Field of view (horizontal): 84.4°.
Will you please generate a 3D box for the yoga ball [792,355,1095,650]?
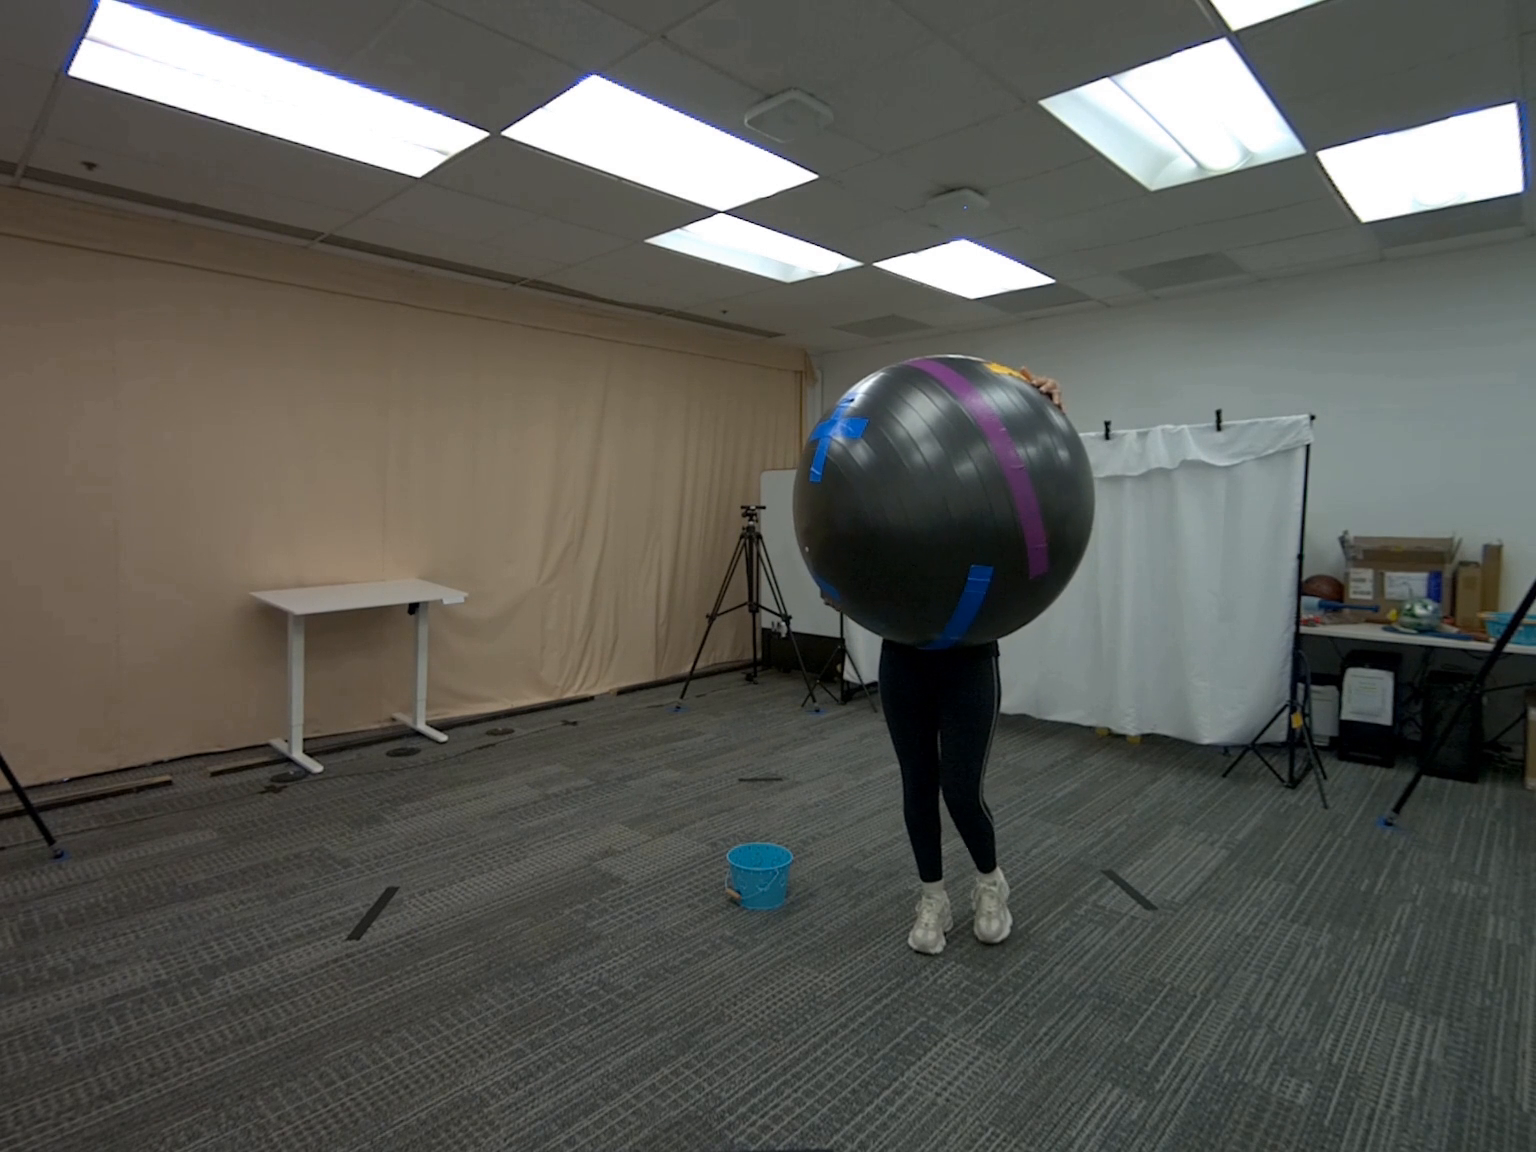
[{"bbox_3d":[0.461,-0.188,2.193,0.757,0.756,0.761,0,4,-2],"label":"yoga ball"}]
